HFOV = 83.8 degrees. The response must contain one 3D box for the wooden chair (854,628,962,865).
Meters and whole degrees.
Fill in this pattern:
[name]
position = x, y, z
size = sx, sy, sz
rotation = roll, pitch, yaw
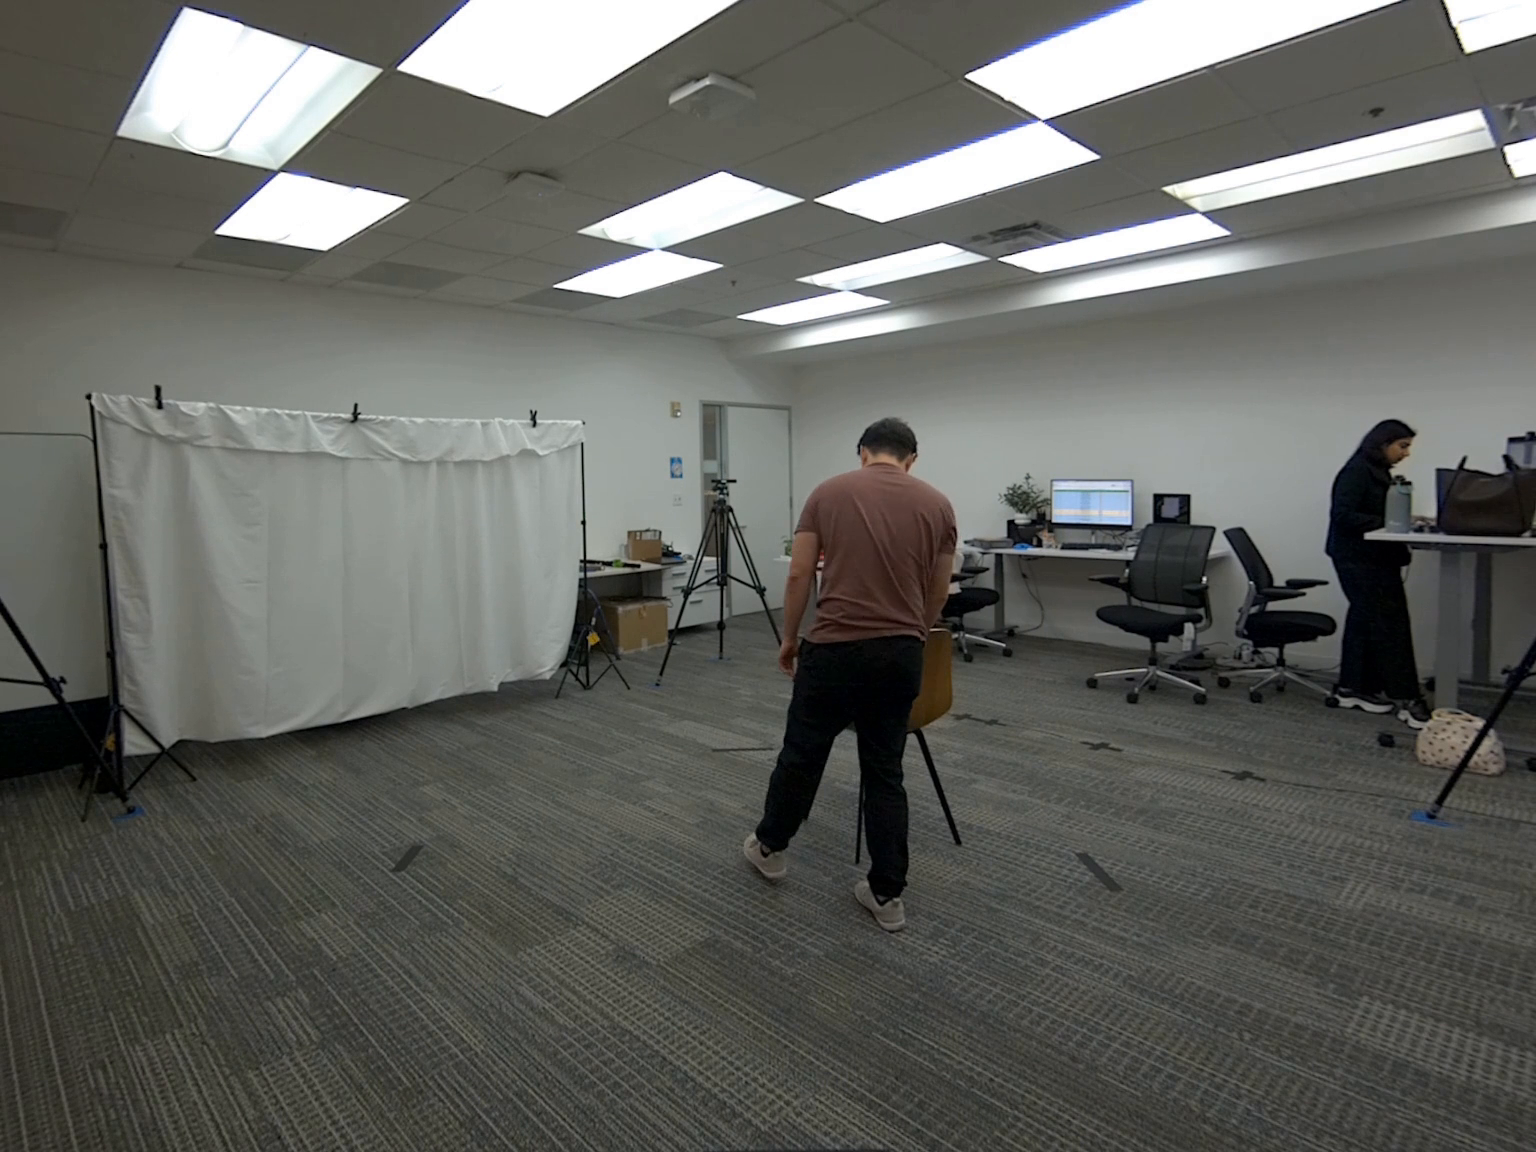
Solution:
[wooden chair]
position = 0.428, 0.586, 3.354
size = 0.469, 0.871, 0.537
rotation = -3, 8, -23
